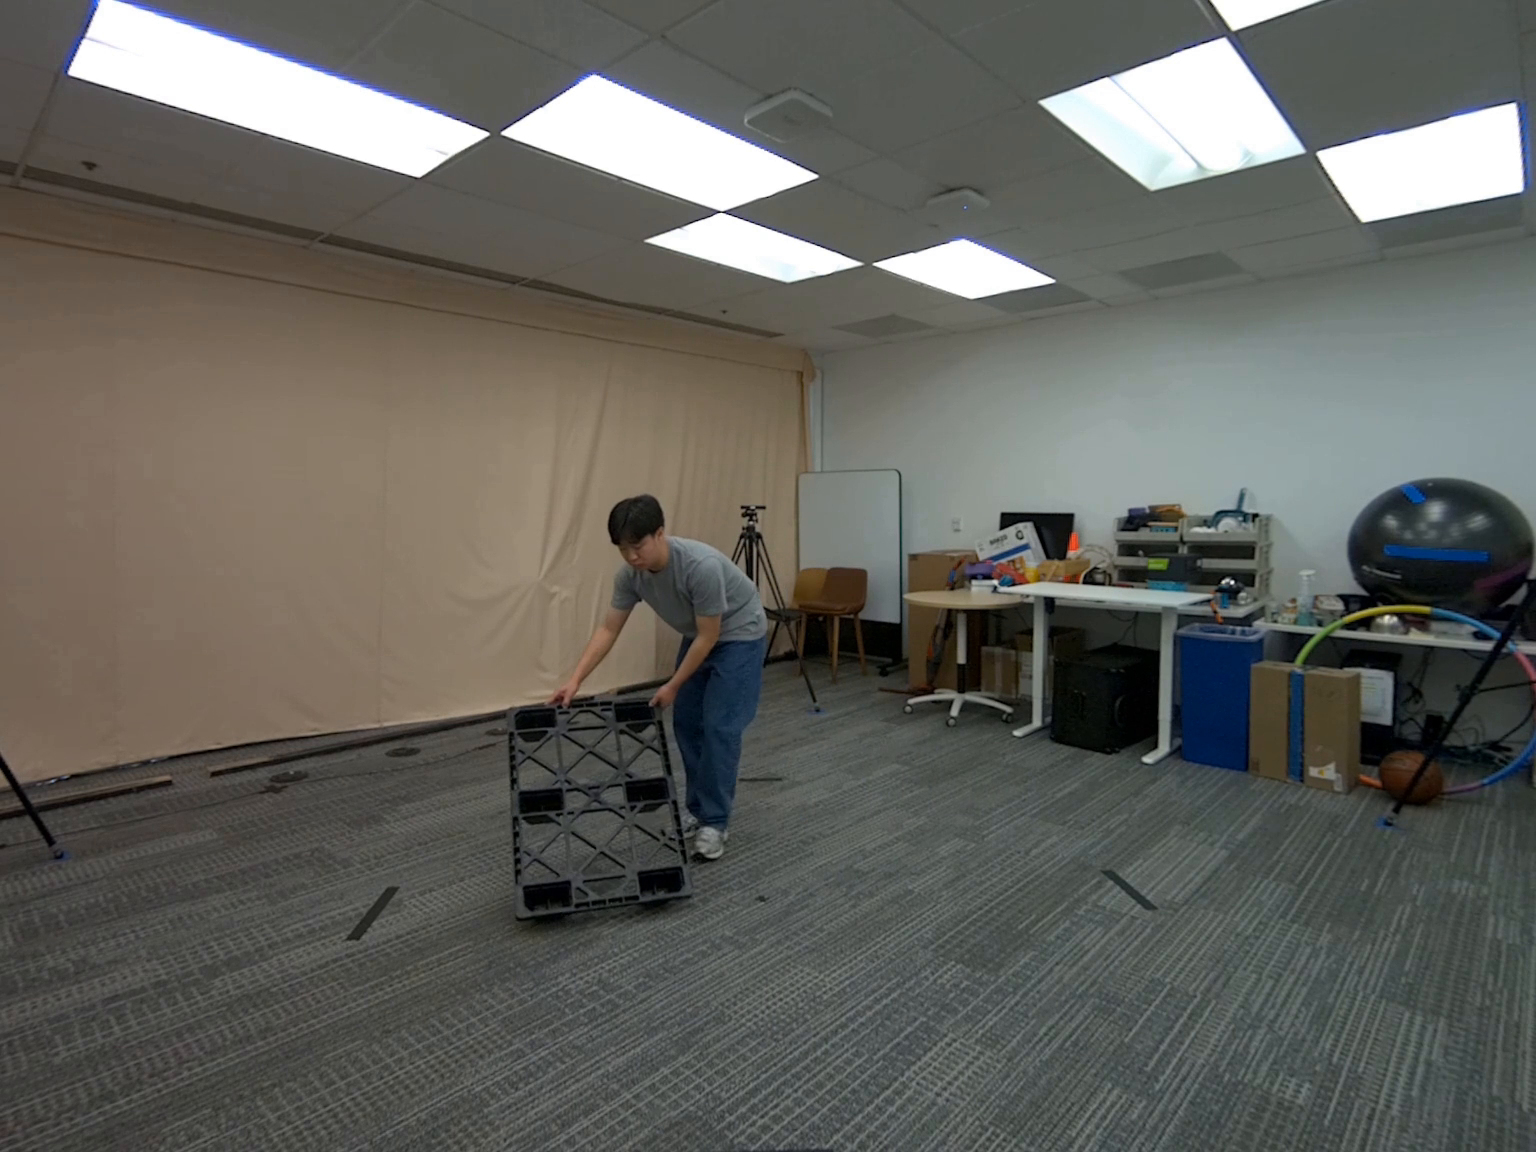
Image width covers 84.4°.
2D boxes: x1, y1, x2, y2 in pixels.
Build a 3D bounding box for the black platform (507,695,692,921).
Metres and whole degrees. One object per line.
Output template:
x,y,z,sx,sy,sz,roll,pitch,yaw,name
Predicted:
-0.636,0.830,3.100,0.595,0.827,0.142,-2,-41,-17,black platform
